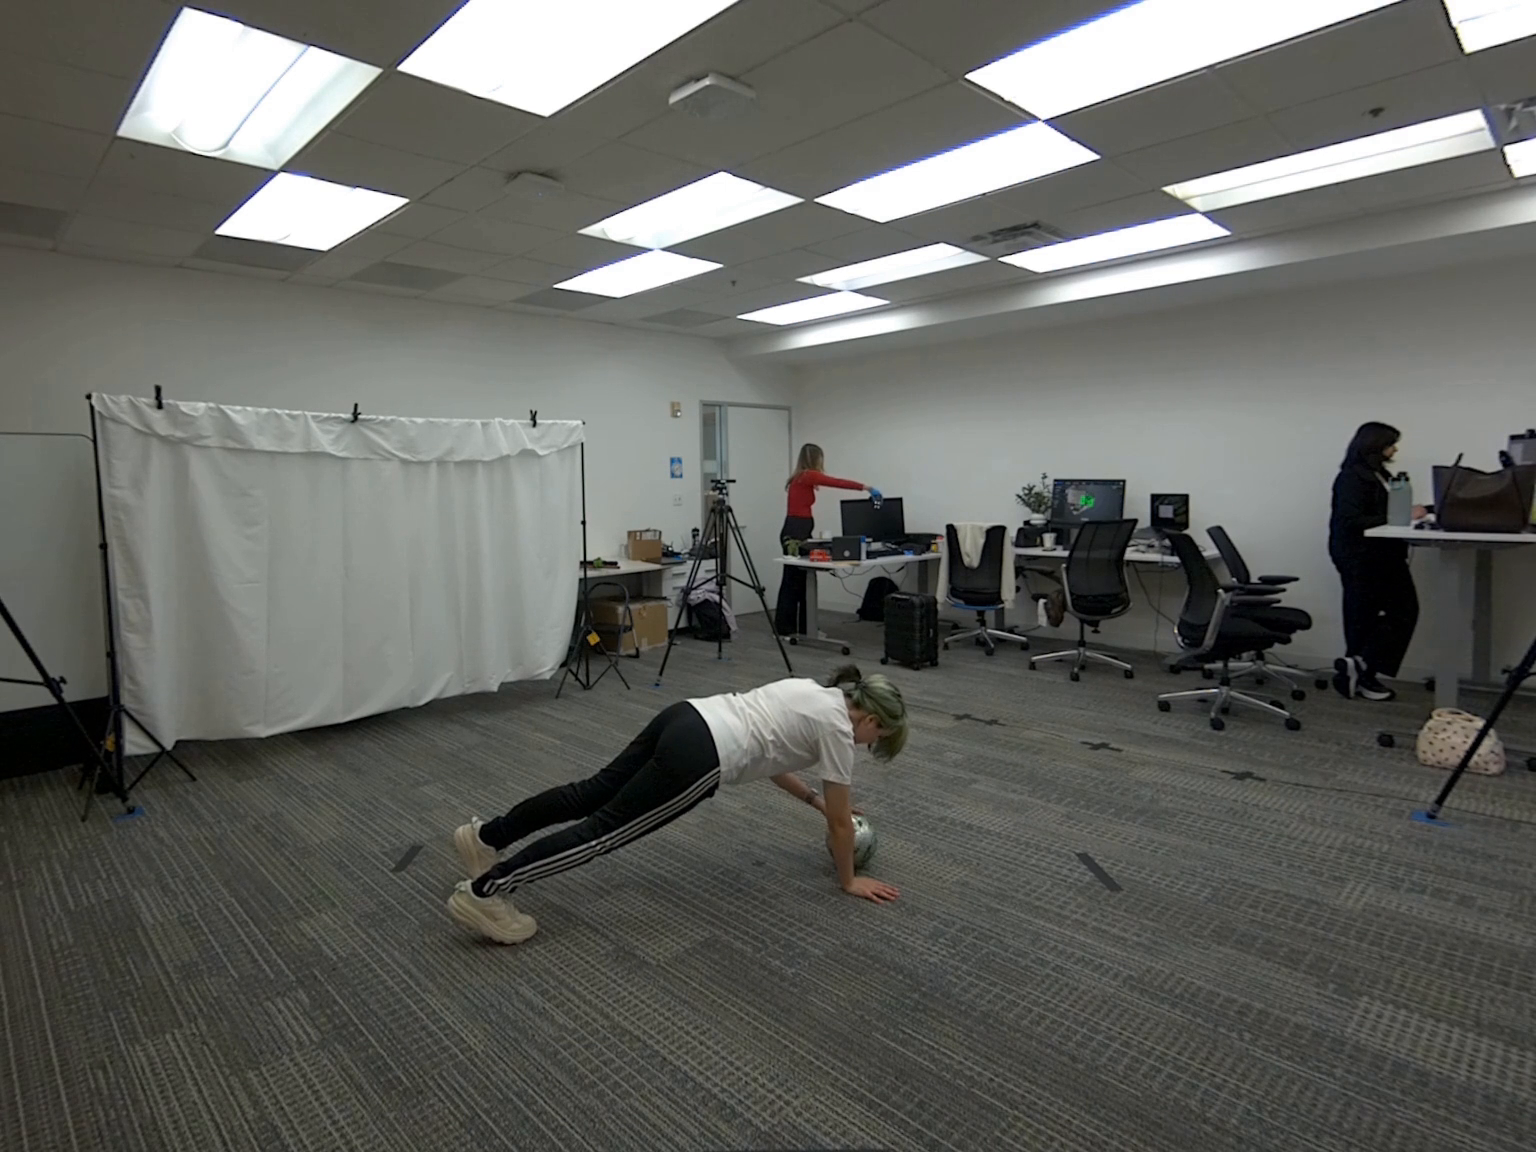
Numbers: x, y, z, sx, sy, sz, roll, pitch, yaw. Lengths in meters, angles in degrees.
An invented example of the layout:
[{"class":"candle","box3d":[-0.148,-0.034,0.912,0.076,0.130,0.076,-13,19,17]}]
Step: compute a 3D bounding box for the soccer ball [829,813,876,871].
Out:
[{"class":"soccer ball","box3d":[0.302,0.949,3.075,0.187,0.187,0.188,-1,5,-2]}]
